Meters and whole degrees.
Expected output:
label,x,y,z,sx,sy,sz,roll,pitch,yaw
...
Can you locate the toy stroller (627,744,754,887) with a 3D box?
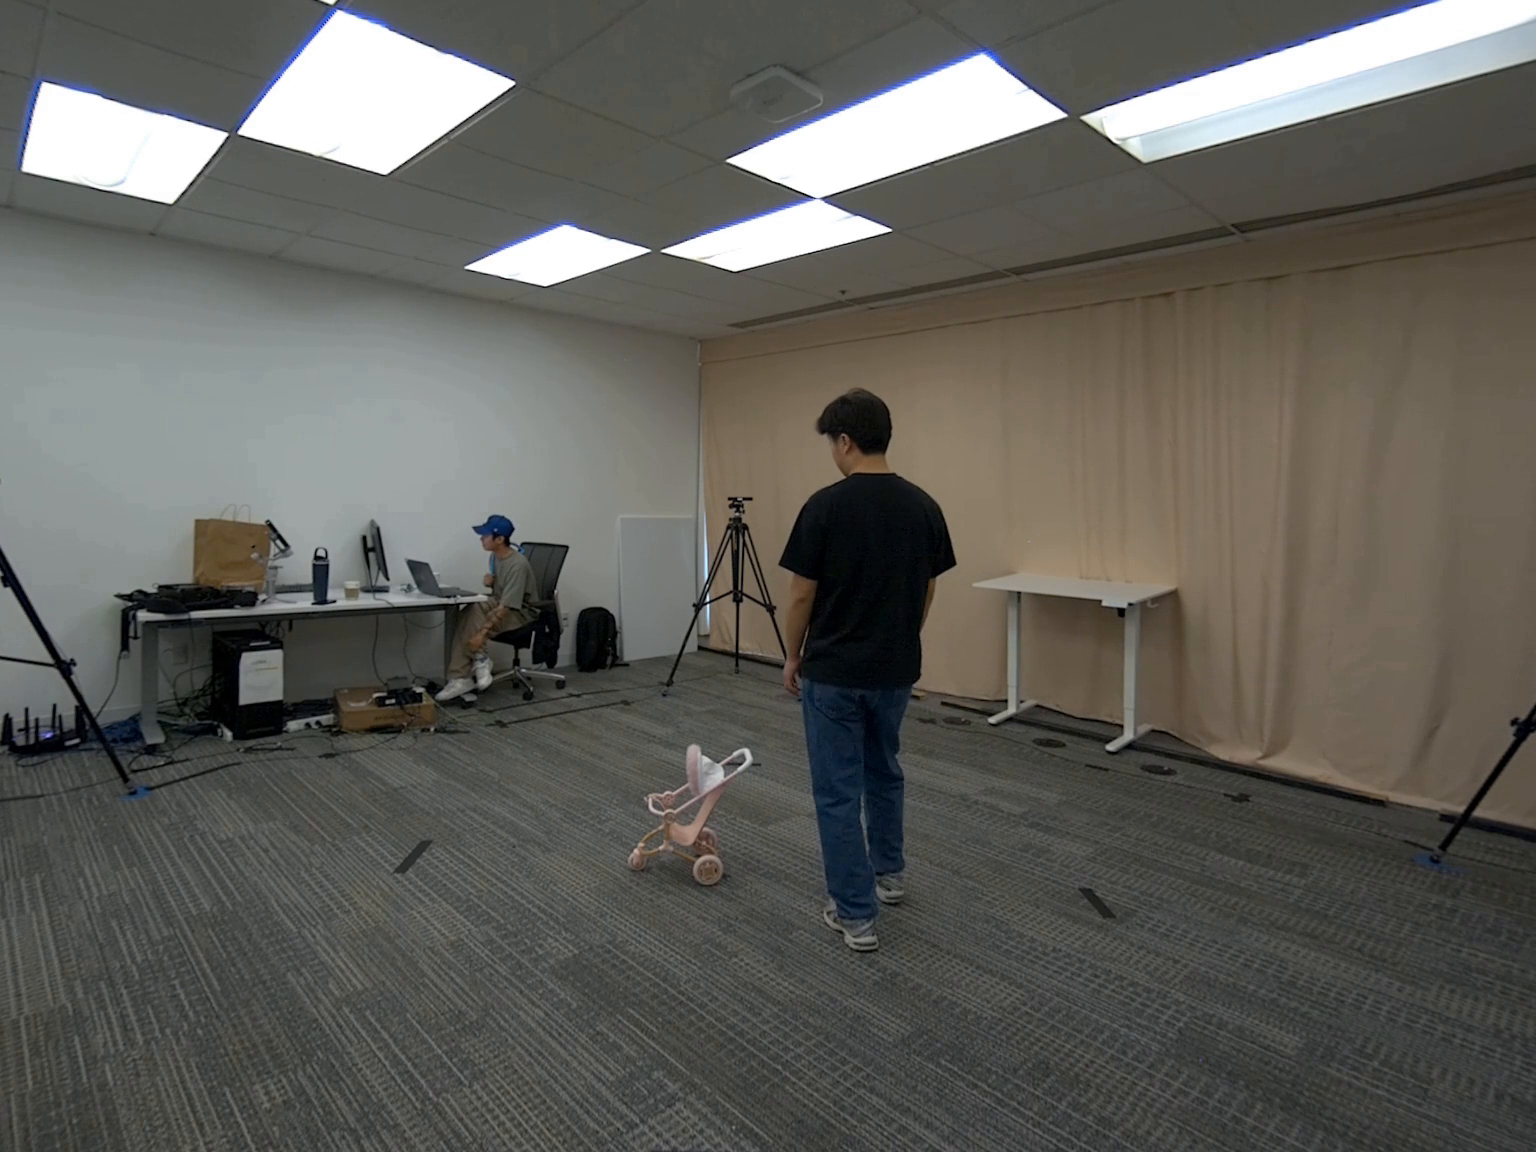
label,x,y,z,sx,sy,sz,roll,pitch,yaw
toy stroller,-0.303,0.874,3.139,0.340,0.534,0.283,16,3,-4
